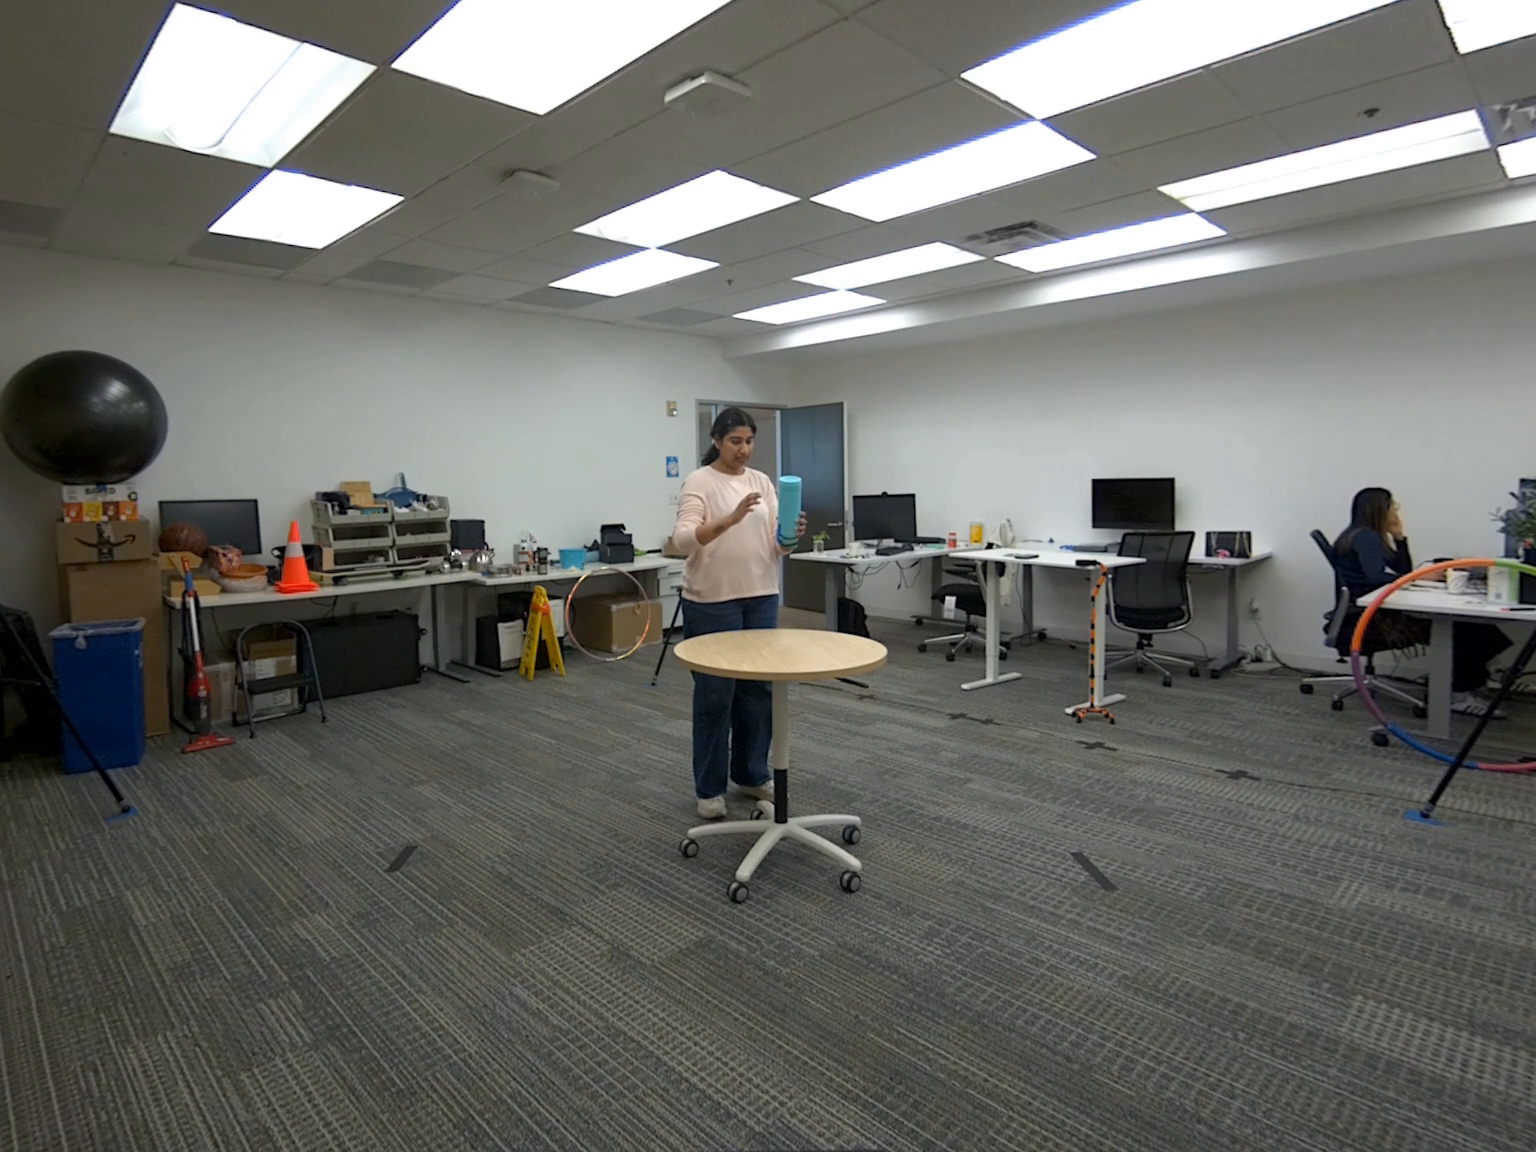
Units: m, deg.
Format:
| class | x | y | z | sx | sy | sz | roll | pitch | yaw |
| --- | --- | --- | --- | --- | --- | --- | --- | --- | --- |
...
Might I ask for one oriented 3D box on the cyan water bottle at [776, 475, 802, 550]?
| class | x | y | z | sx | sy | sz | roll | pitch | yaw |
| --- | --- | --- | --- | --- | --- | --- | --- | --- | --- |
| cyan water bottle | 0.070 | -0.242 | 3.347 | 0.092 | 0.279 | 0.094 | 4 | 18 | -3 |
